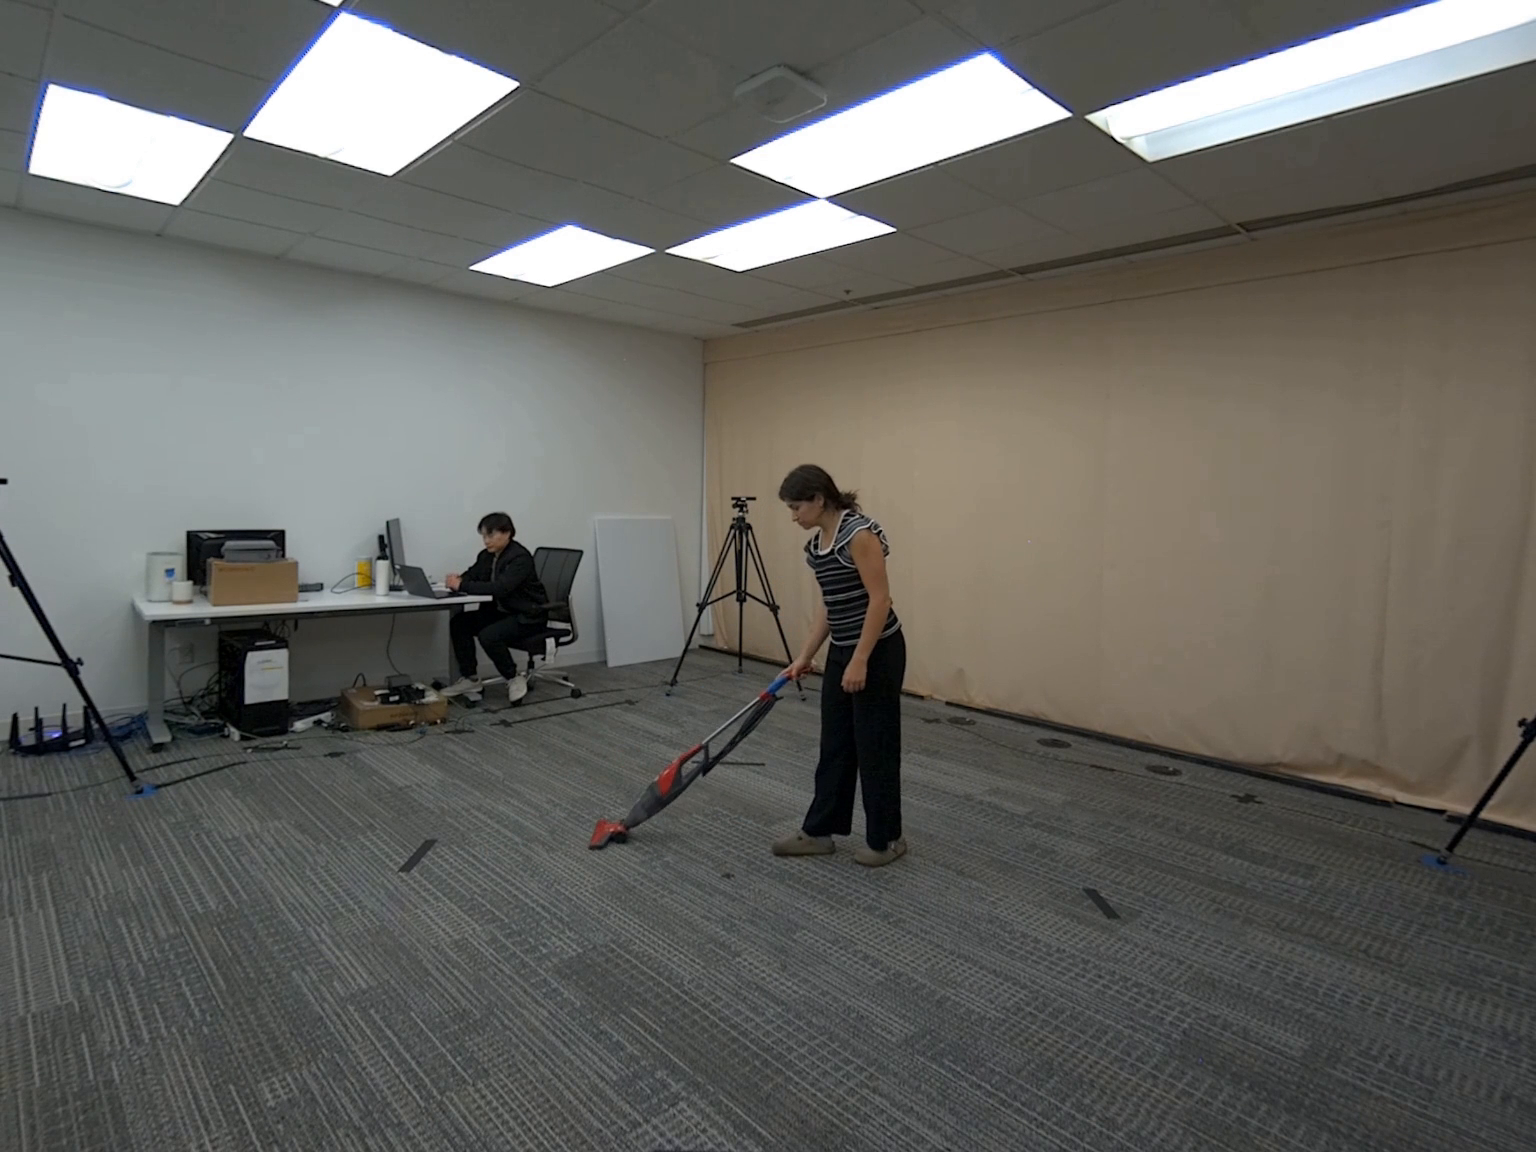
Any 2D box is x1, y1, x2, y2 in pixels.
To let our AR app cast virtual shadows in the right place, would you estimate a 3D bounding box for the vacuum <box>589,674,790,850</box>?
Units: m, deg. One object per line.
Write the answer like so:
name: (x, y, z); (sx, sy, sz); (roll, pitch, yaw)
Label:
vacuum: (-0.252, 0.717, 3.413); (1.049, 0.143, 0.255); (-39, 9, 2)
